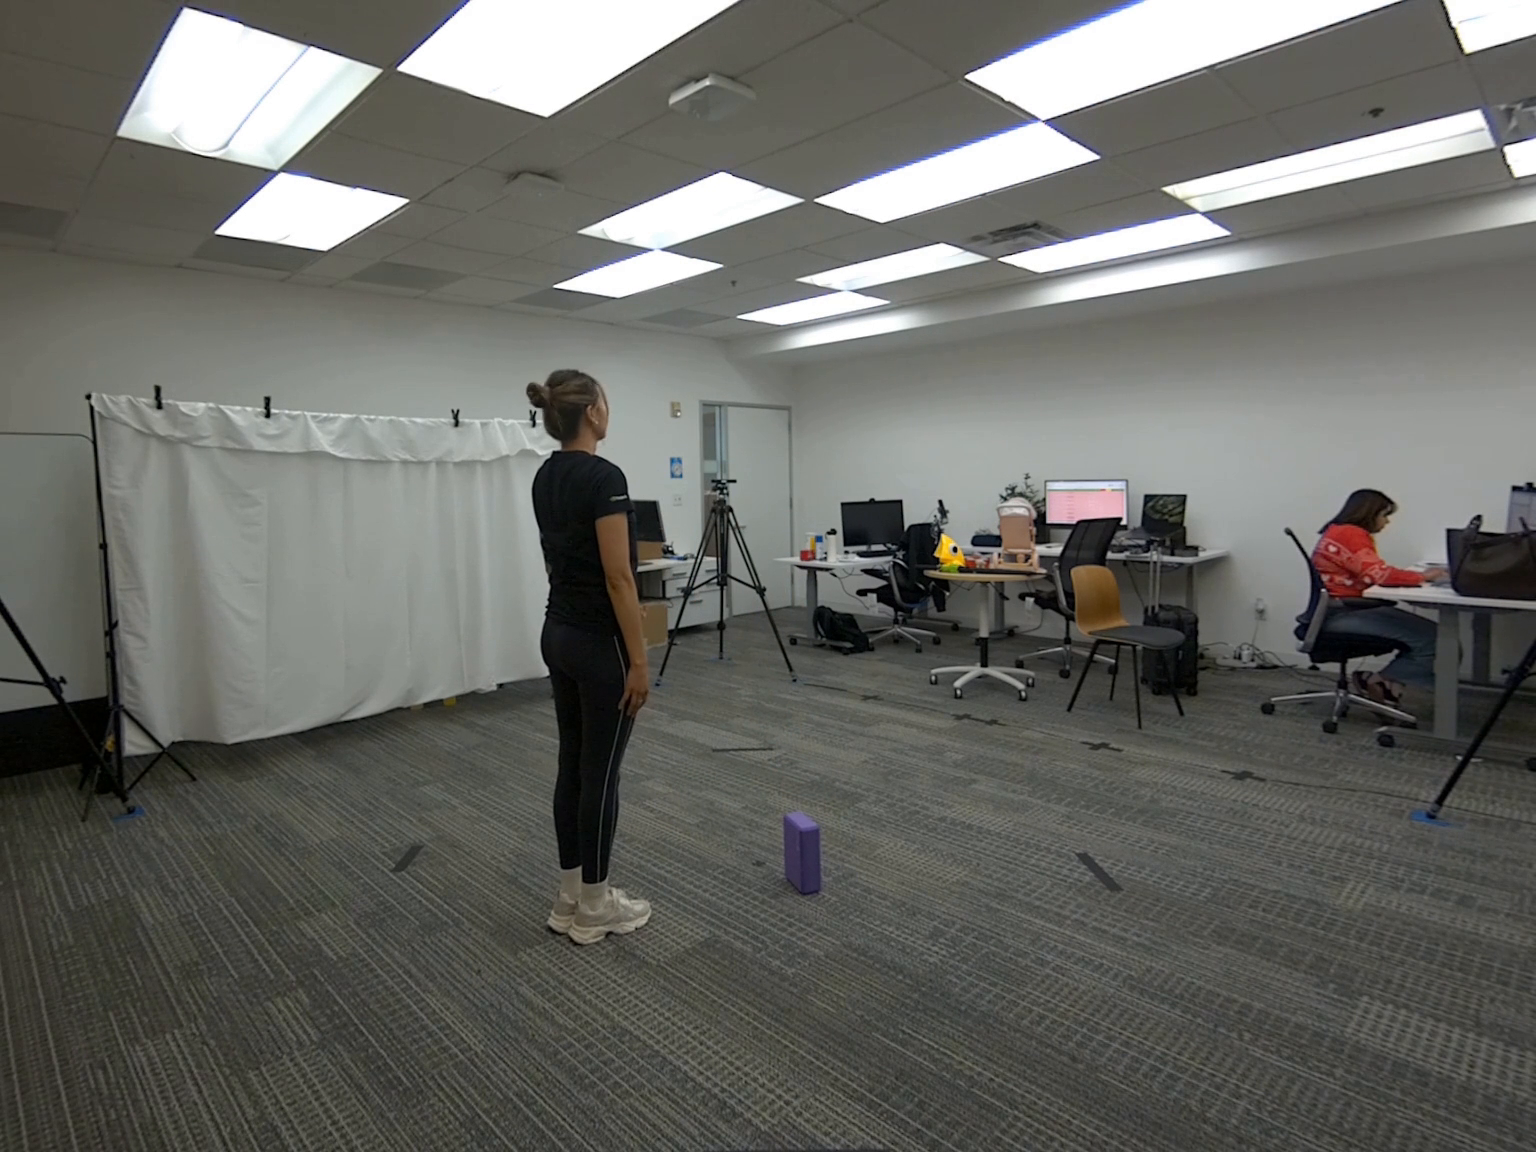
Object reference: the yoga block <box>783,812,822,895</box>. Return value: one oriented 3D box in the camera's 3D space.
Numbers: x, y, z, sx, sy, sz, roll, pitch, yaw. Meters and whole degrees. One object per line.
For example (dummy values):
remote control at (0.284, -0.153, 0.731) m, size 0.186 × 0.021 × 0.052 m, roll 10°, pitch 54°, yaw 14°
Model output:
yoga block at (0.123, 0.946, 2.931) m, size 0.075 × 0.228 × 0.152 m, roll -2°, pitch 4°, yaw -24°
